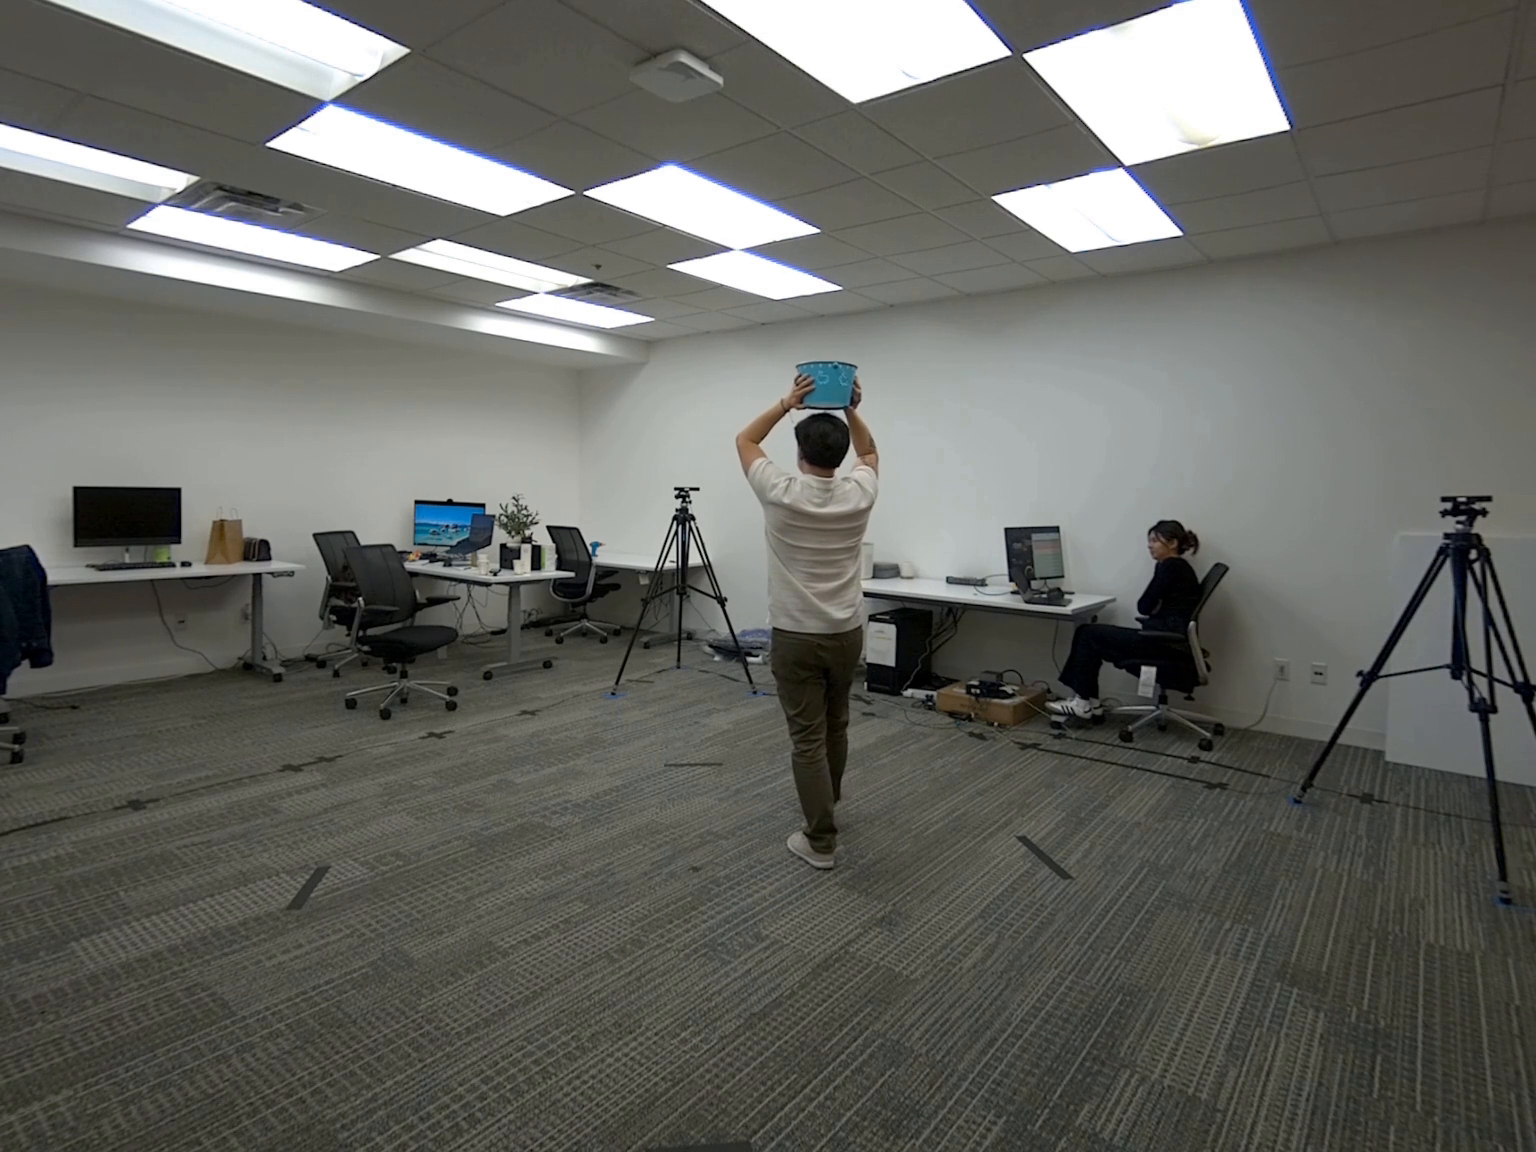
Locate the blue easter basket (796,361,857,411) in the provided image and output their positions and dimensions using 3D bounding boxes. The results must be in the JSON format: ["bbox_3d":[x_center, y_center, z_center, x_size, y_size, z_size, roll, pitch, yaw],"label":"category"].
[{"bbox_3d":[0.222,-0.723,3.217,0.243,0.155,0.245,3,6,-2],"label":"blue easter basket"}]
